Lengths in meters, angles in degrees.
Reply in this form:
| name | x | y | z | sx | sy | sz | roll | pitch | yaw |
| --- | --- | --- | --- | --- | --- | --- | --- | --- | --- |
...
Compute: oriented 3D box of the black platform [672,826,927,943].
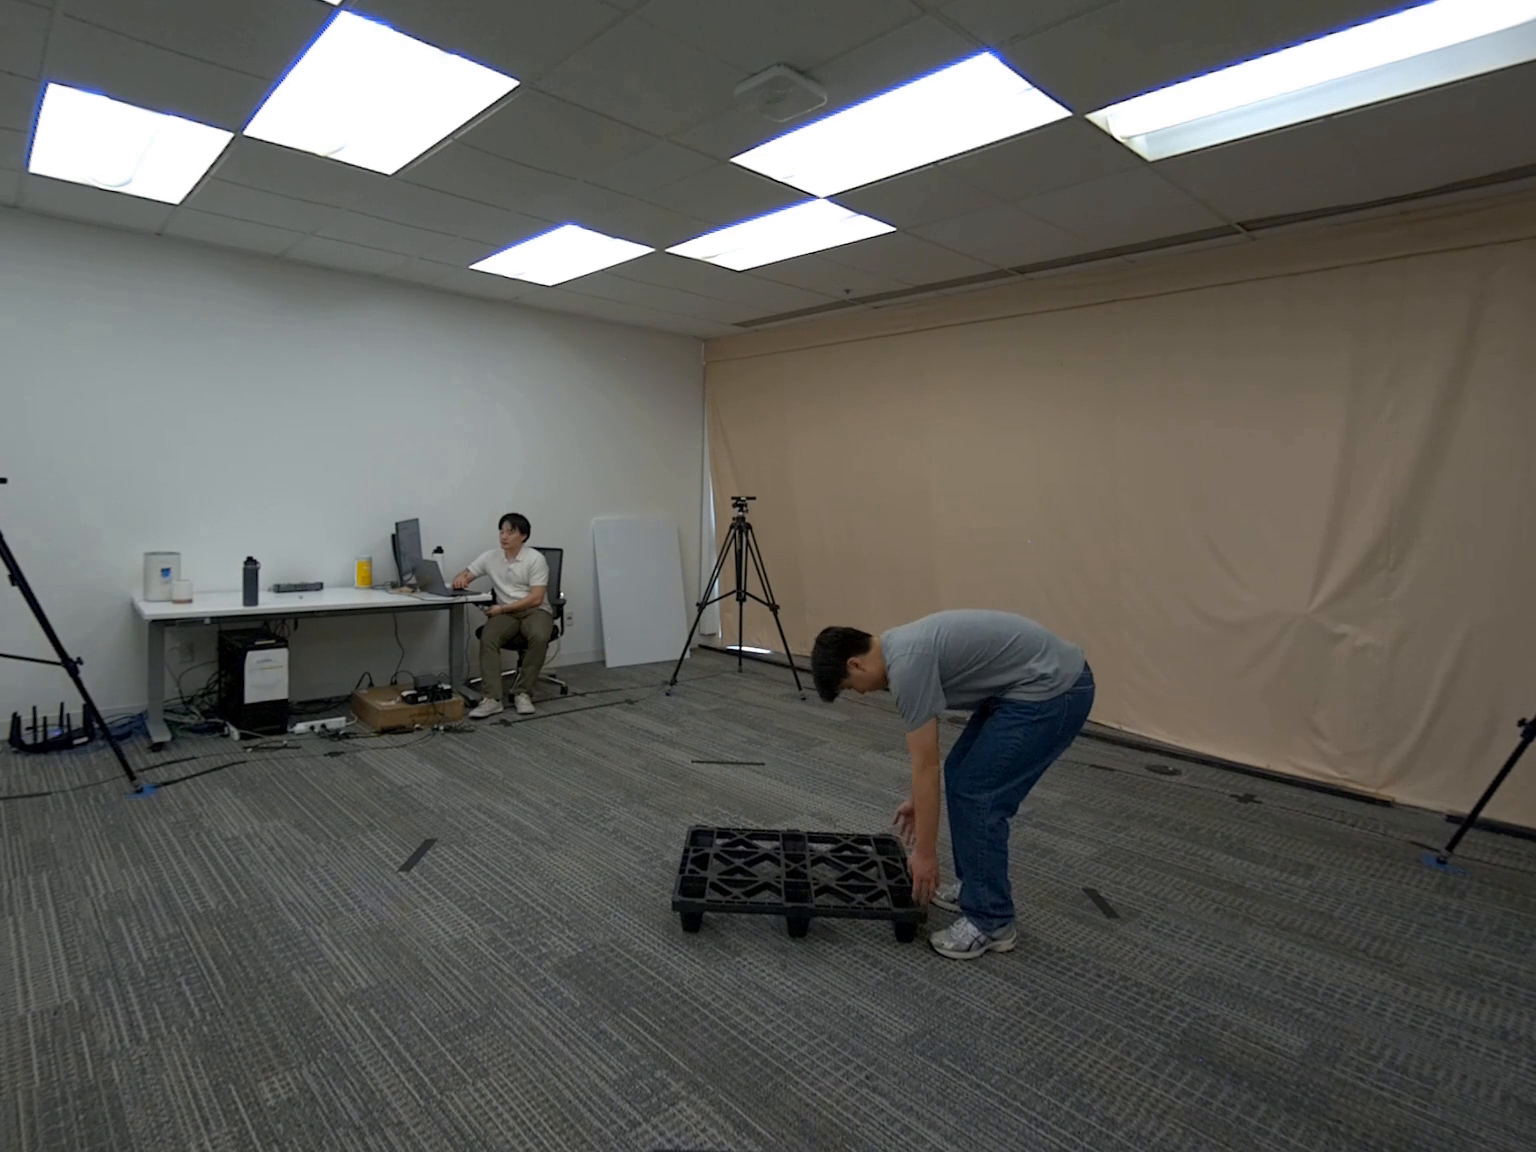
| name | x | y | z | sx | sy | sz | roll | pitch | yaw |
| --- | --- | --- | --- | --- | --- | --- | --- | --- | --- |
| black platform | 0.086 | 1.056 | 2.910 | 0.807 | 0.143 | 0.605 | 1 | 4 | 2 |
